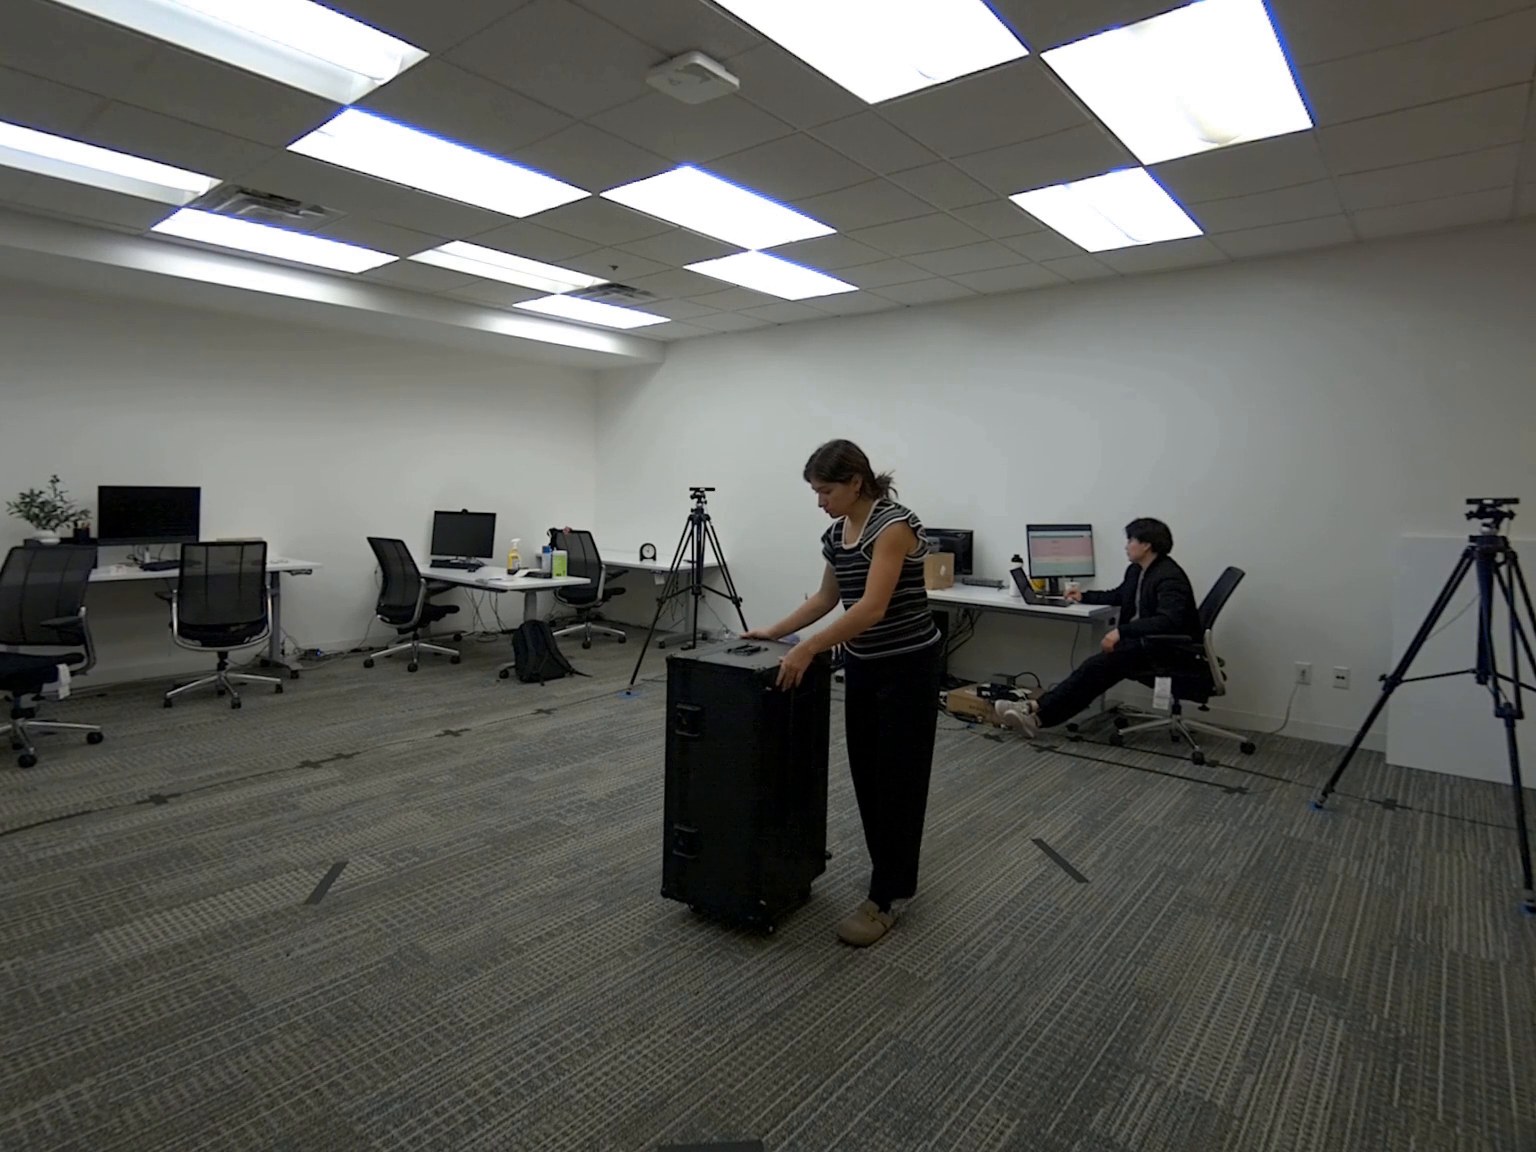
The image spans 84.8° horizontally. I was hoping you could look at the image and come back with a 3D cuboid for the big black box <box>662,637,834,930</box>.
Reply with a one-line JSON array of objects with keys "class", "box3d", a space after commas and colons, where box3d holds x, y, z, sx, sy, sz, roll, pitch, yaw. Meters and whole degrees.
[{"class": "big black box", "box3d": [-0.062, 0.672, 2.825, 0.408, 0.859, 0.507, 3, 4, 31]}]
